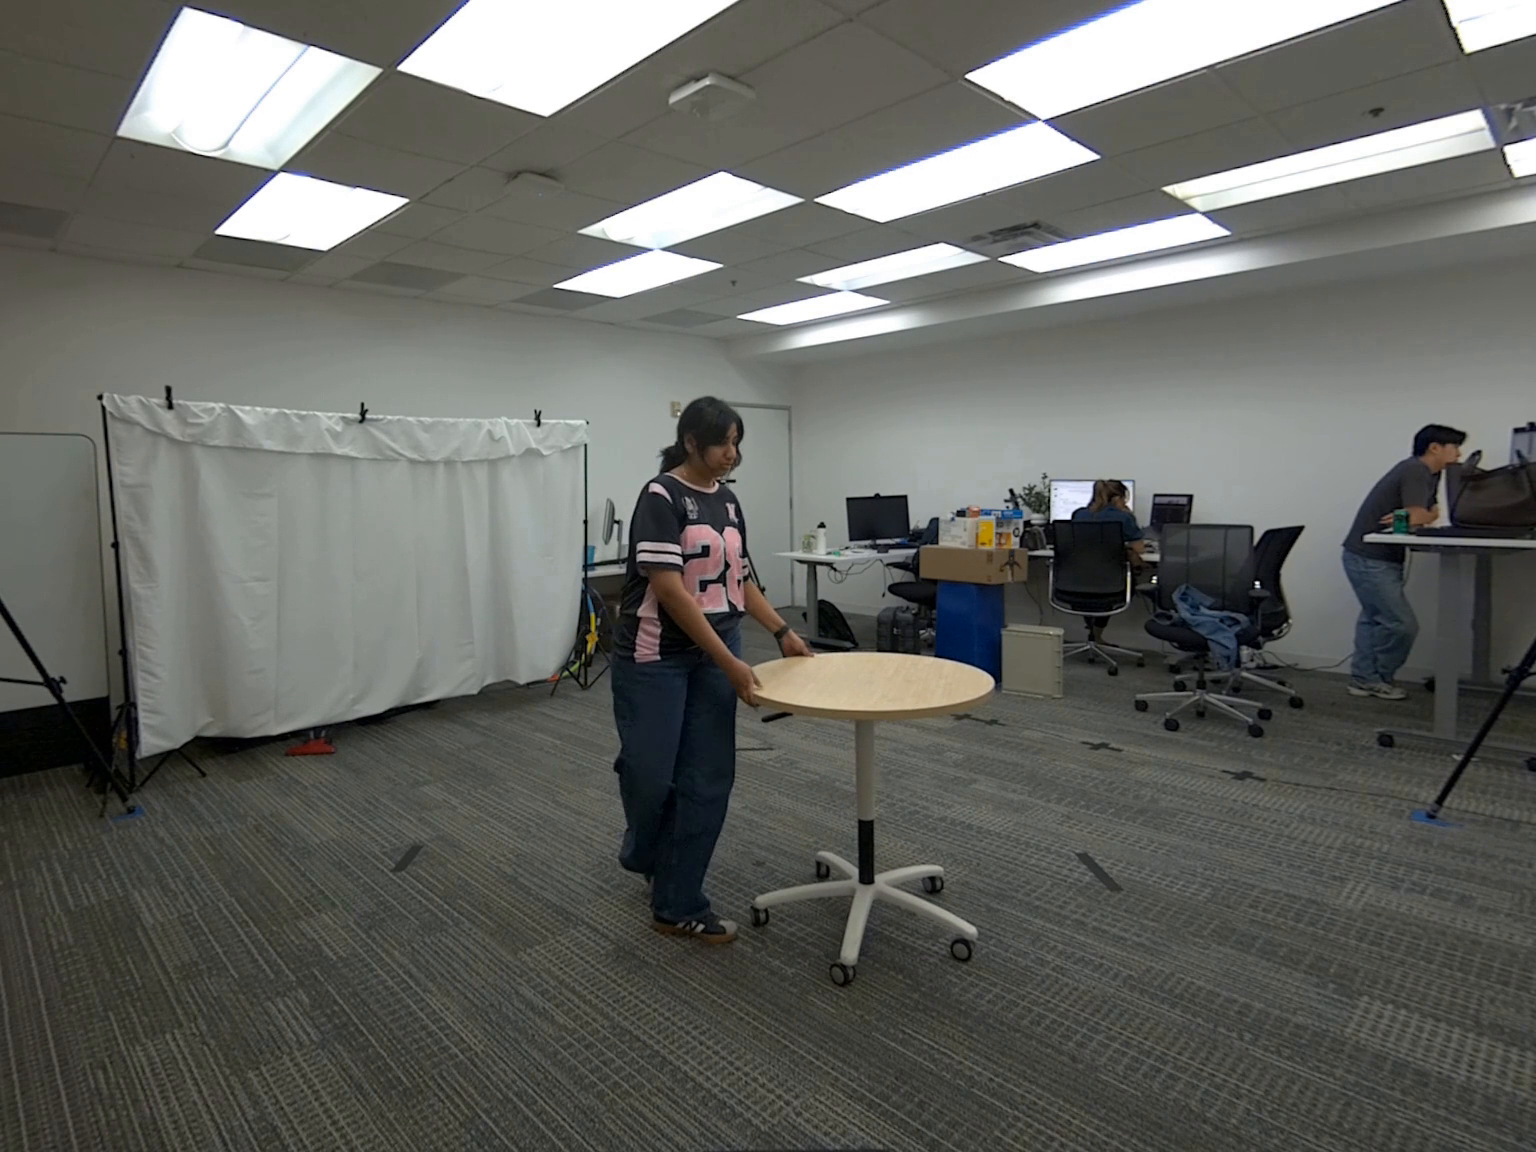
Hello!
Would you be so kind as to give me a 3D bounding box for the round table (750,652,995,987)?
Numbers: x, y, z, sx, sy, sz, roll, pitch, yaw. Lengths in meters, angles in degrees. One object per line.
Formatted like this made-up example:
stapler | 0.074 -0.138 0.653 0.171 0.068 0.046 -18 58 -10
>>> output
round table | 0.312 0.697 2.634 0.784 0.783 0.789 -2 5 -2
